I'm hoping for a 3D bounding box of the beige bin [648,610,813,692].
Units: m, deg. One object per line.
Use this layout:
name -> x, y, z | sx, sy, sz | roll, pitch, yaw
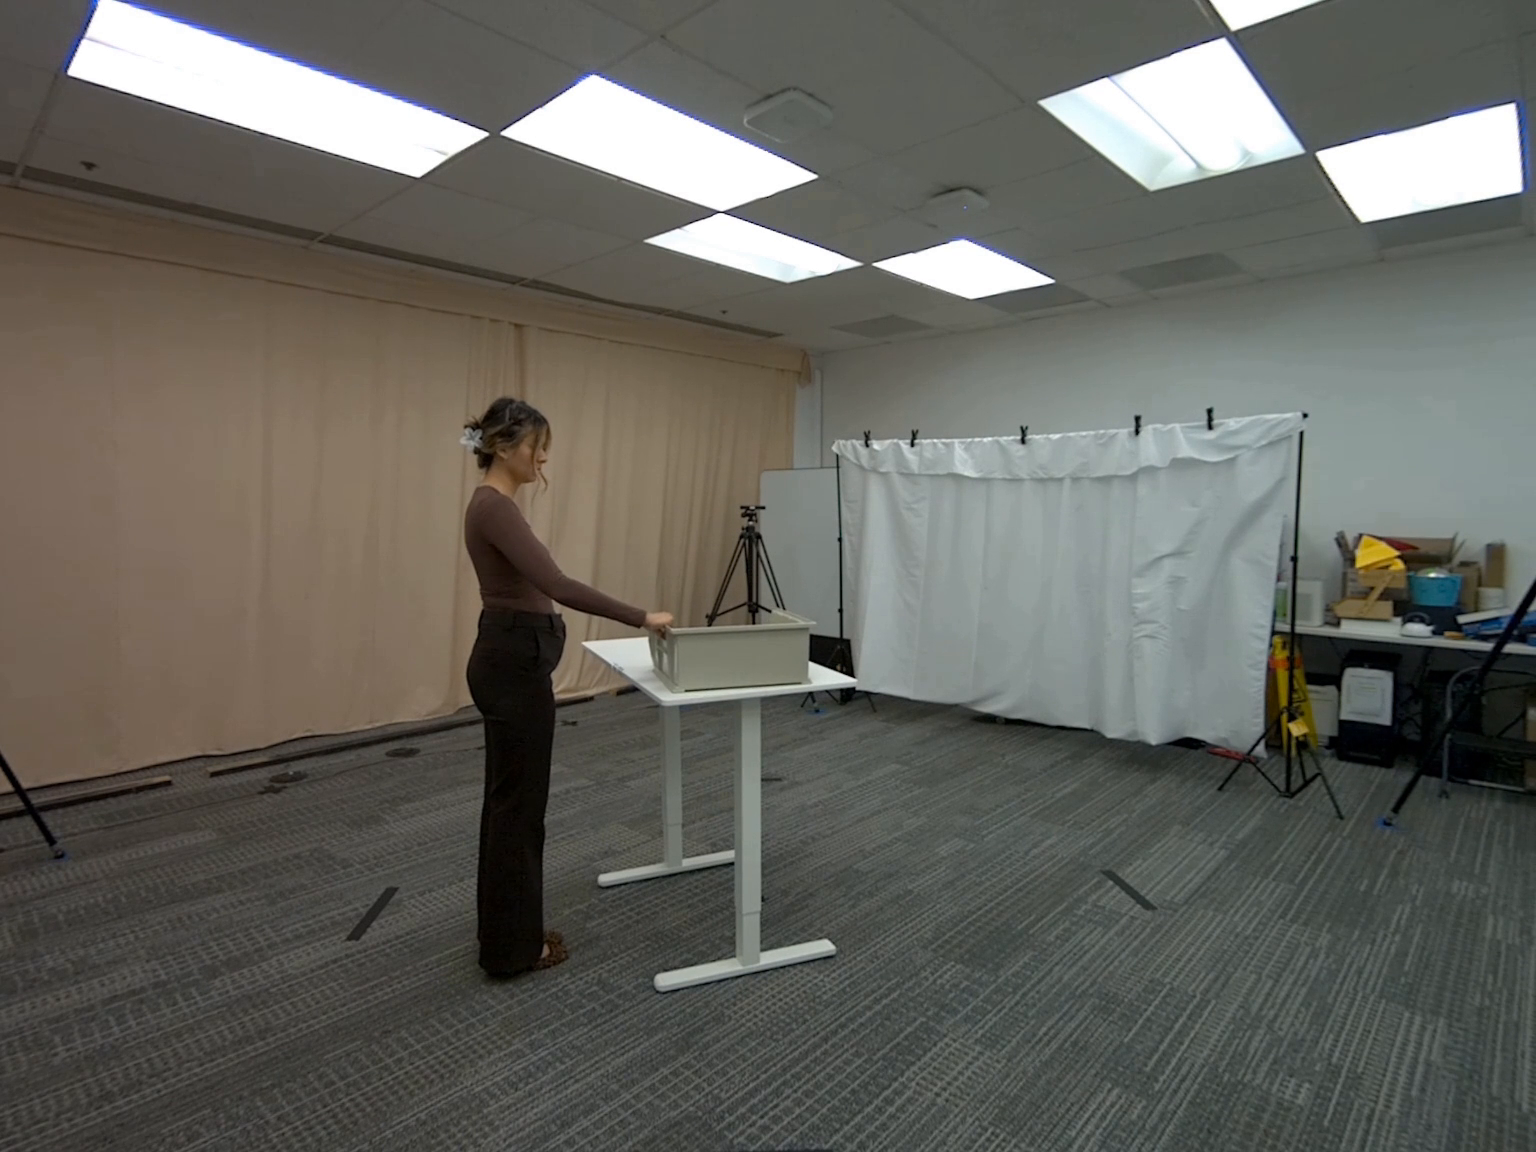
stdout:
beige bin -> -0.119, 0.217, 2.526 | 0.415, 0.188, 0.385 | -1, 6, -16
